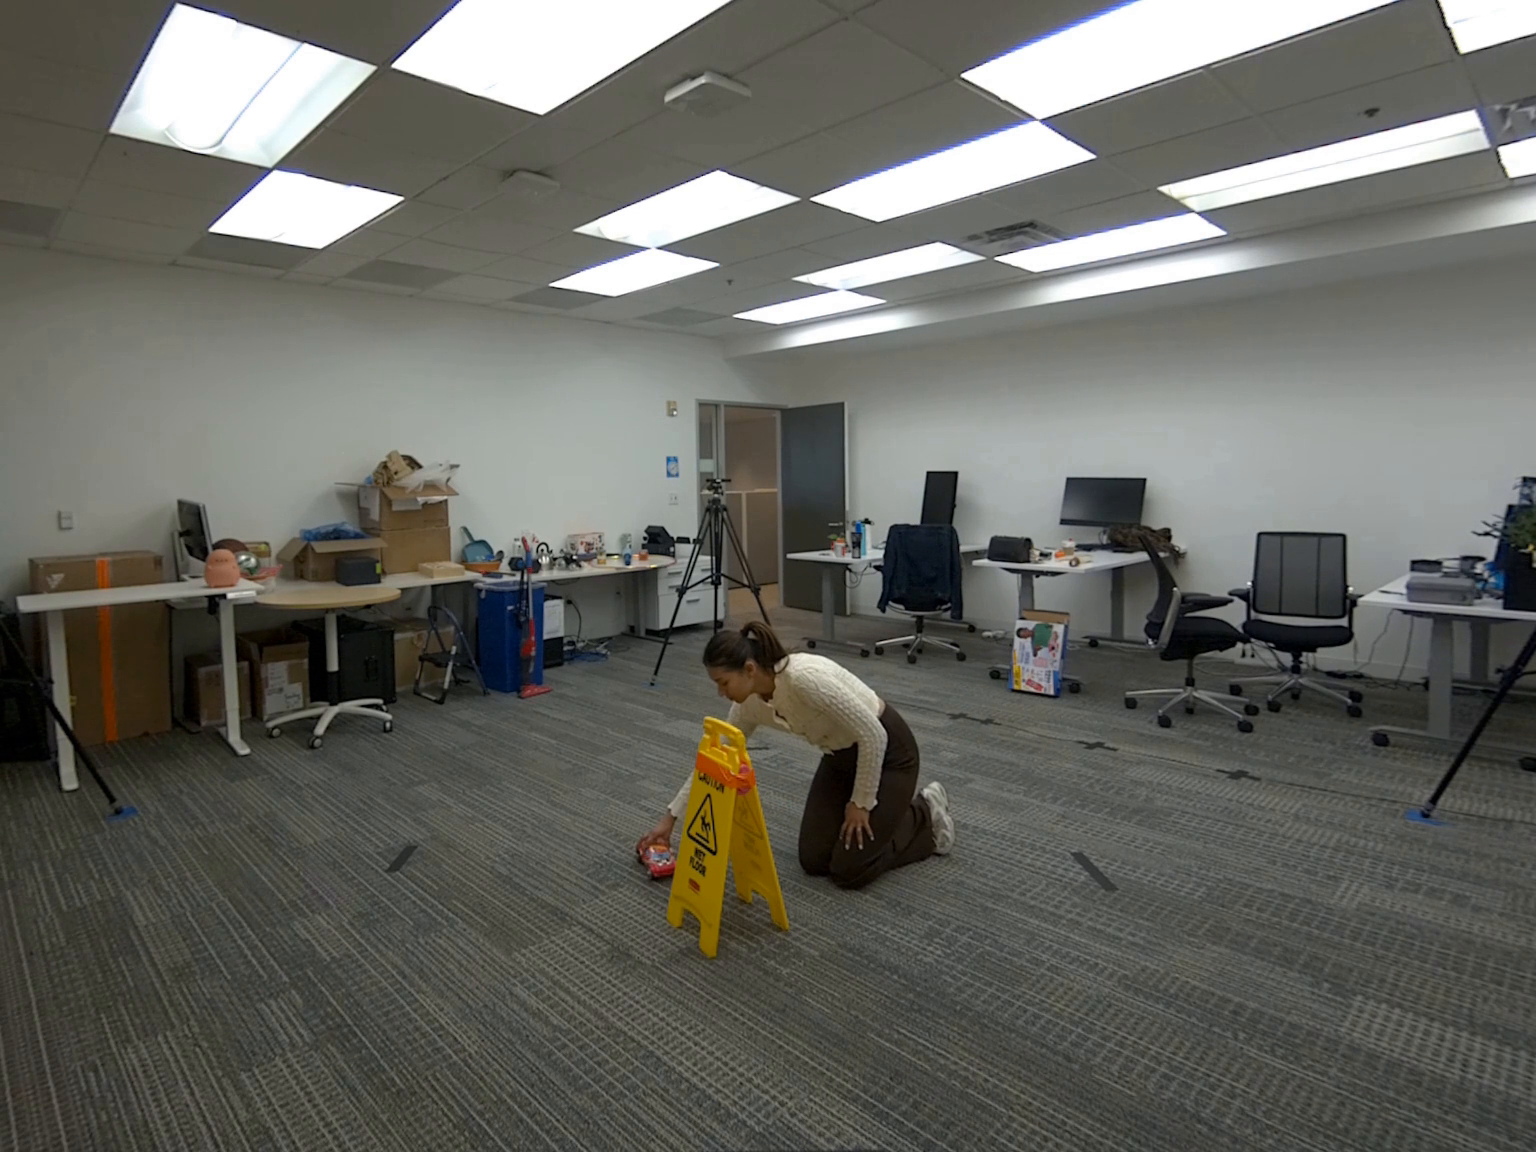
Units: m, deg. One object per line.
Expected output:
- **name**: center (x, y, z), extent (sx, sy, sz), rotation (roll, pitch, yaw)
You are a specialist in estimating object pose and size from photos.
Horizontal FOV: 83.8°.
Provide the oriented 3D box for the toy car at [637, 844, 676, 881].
- **toy car**: center (-0.391, 1.019, 3.090), extent (0.128, 0.082, 0.262), rotation (-4, 16, -24)
